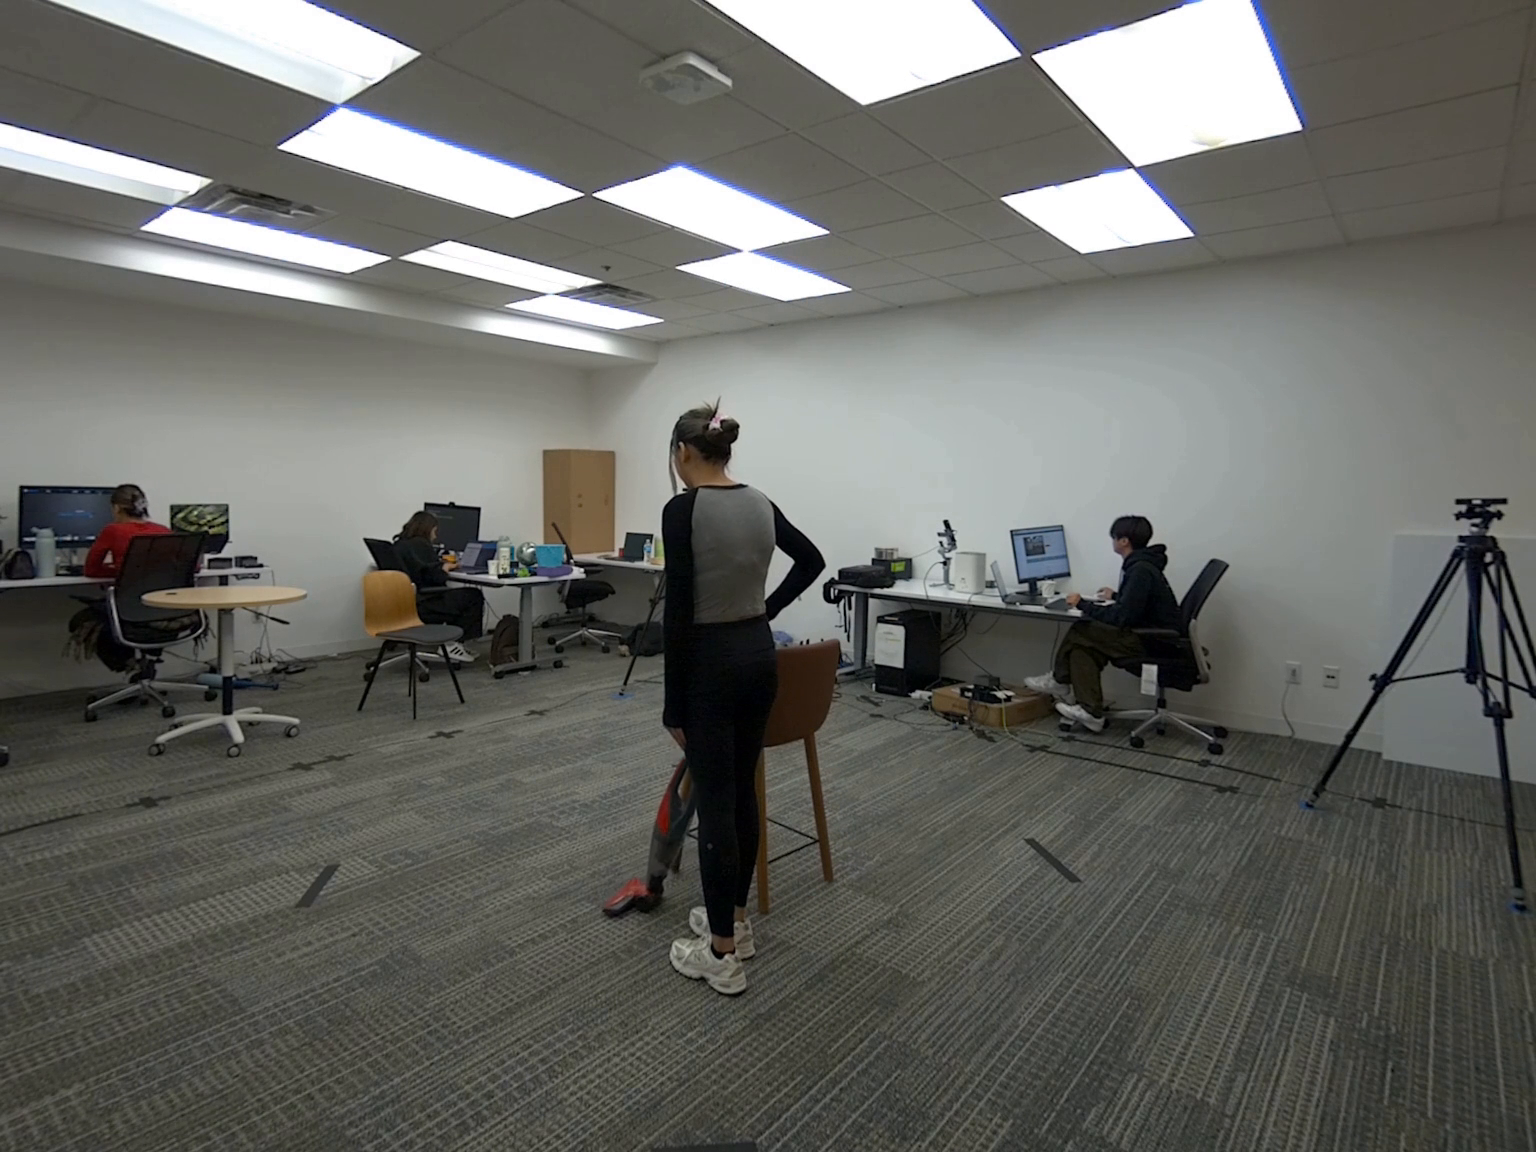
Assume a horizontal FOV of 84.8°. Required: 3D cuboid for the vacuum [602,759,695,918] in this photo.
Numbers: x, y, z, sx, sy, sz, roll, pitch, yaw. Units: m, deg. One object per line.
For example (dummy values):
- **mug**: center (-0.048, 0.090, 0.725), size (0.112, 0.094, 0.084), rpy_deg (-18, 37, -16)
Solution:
- **vacuum**: center (-0.246, 0.620, 2.787), size (0.147, 1.046, 0.249), rpy_deg (25, 7, 12)
